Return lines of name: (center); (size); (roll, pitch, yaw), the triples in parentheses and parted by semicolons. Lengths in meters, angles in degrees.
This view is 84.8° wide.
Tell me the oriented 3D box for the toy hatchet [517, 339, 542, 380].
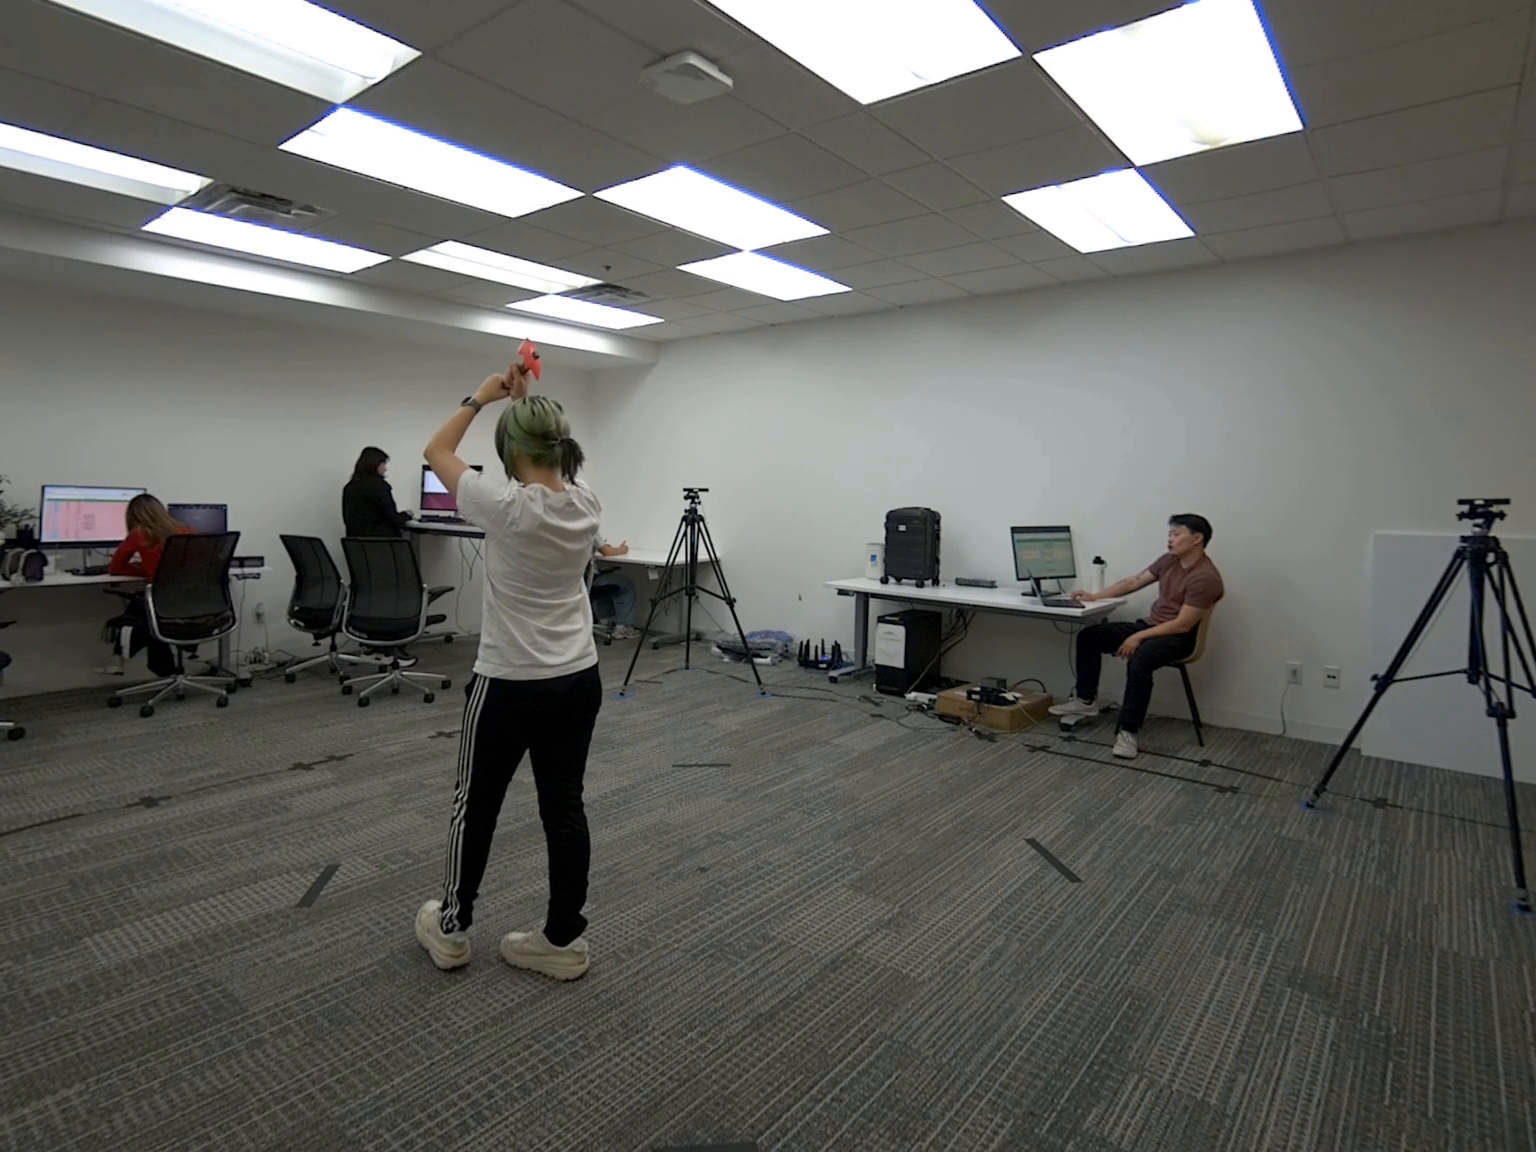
toy hatchet: (-0.763, -0.617, 2.477); (0.278, 0.131, 0.029); (-1, 3, 42)
